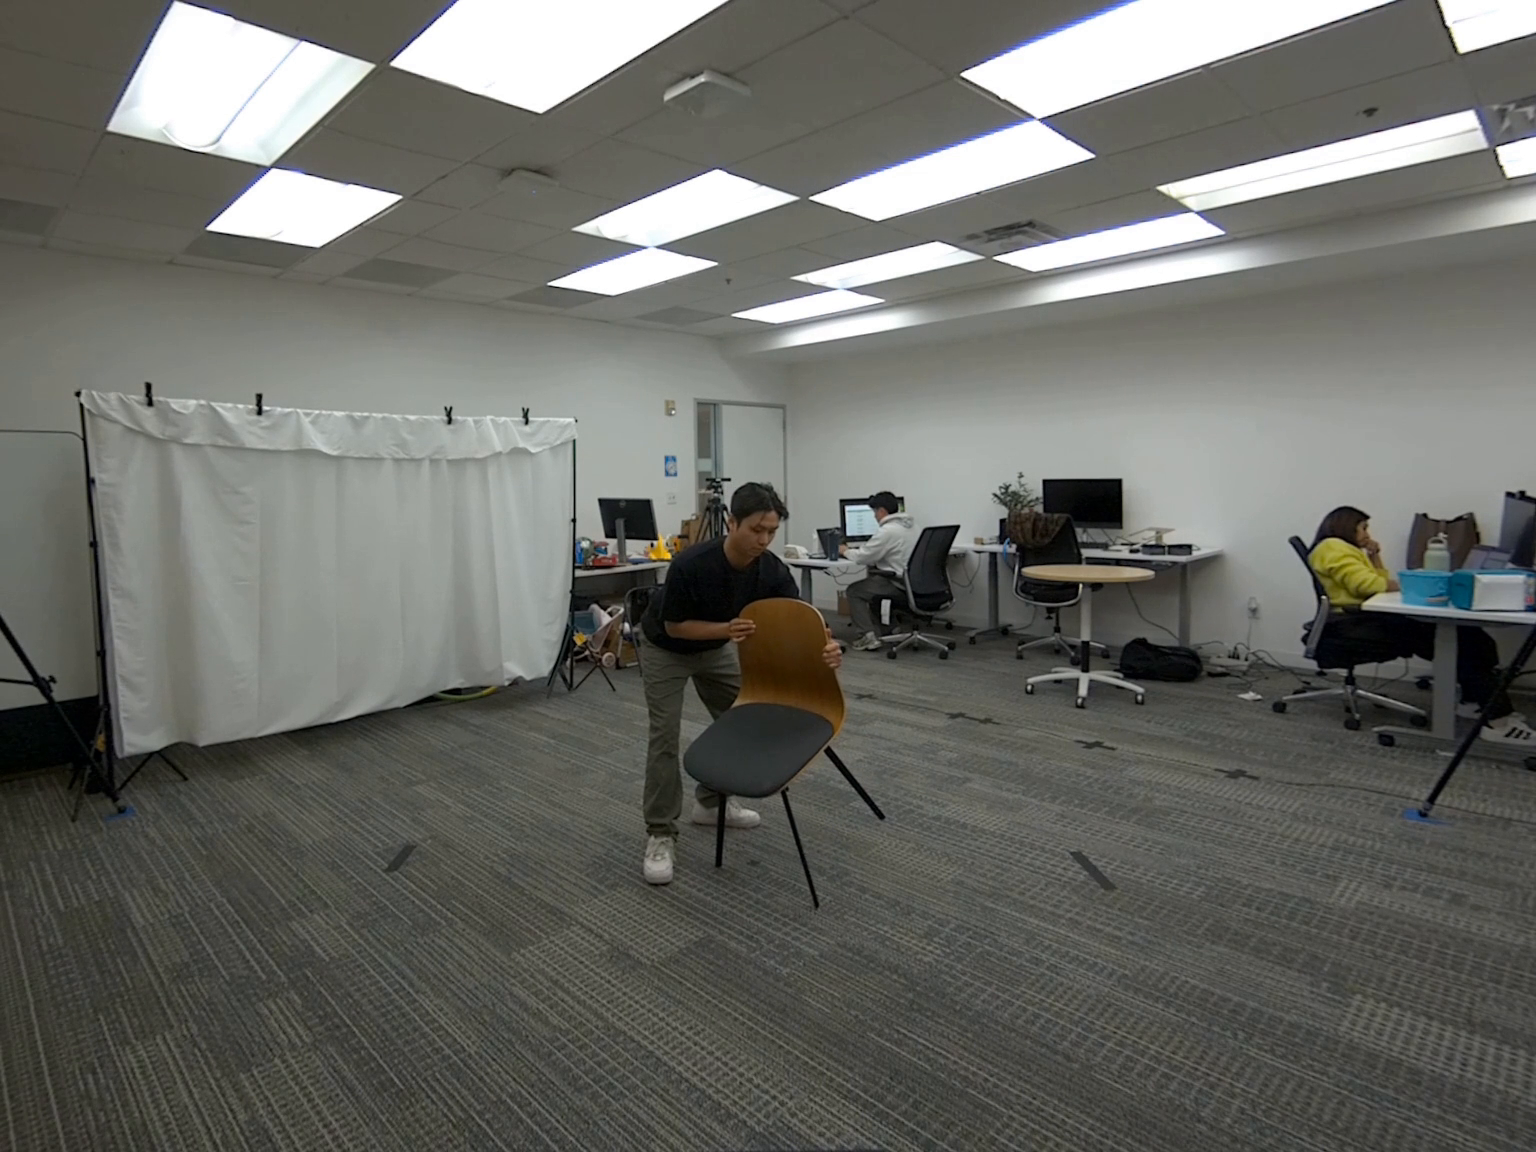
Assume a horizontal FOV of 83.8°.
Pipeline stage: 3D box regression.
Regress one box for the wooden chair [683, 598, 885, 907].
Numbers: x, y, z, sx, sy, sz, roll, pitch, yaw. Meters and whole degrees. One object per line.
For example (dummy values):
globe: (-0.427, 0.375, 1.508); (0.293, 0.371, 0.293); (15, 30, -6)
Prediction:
wooden chair: (0.011, 0.585, 2.918); (0.492, 0.861, 0.517); (3, 24, 40)
